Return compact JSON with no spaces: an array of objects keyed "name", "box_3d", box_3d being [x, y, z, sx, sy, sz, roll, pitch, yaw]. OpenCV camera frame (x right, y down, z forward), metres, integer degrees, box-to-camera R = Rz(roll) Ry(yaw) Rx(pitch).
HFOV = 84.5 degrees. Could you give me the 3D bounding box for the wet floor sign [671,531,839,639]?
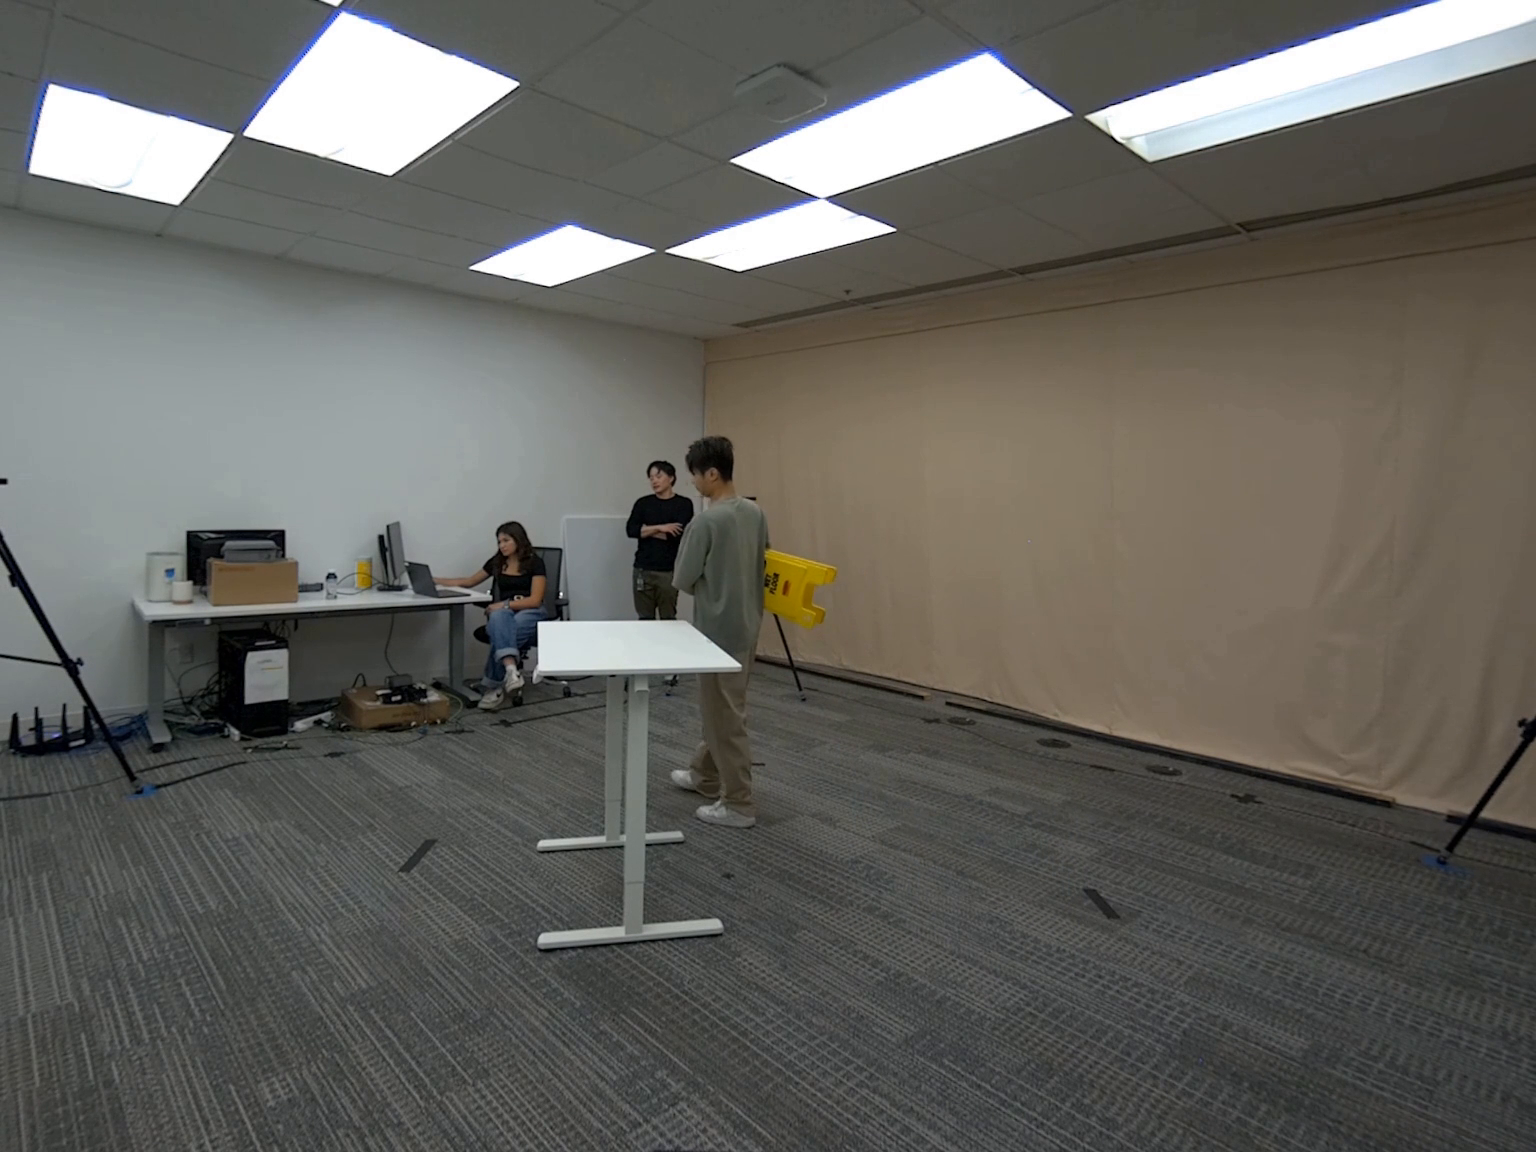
[{"name":"wet floor sign","box_3d":[-0.062,0.006,3.794,0.658,0.280,0.286,18,16,20]}]
